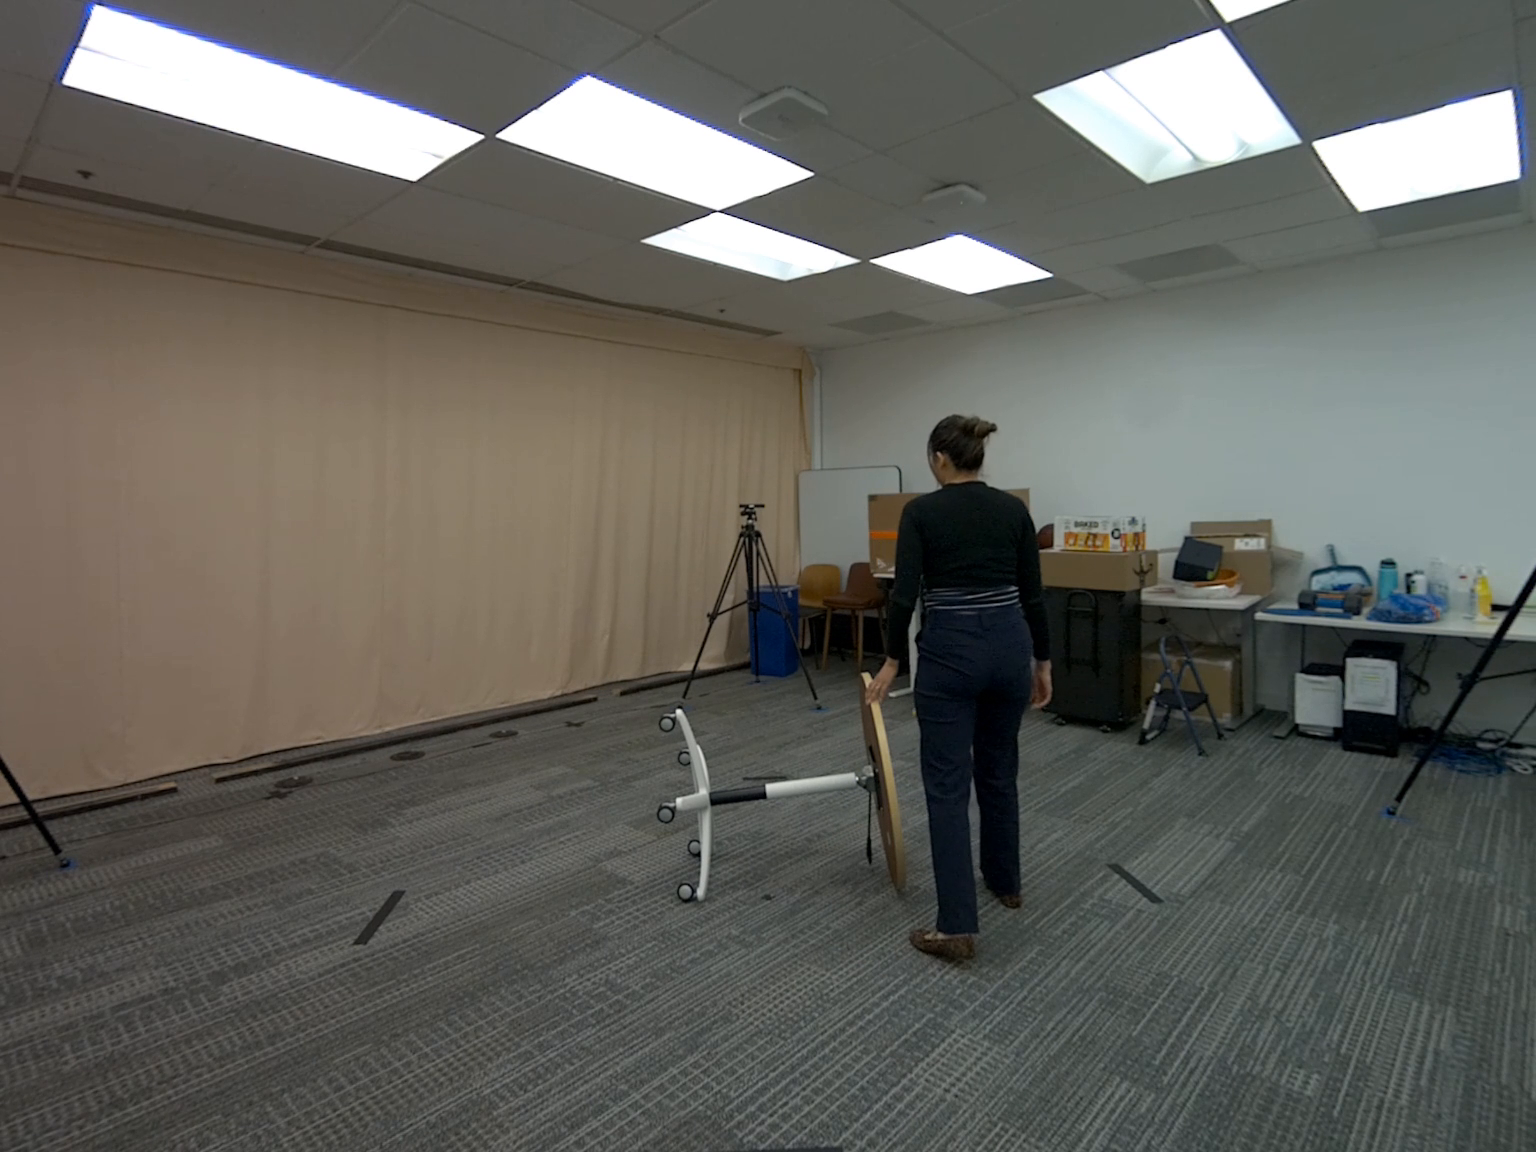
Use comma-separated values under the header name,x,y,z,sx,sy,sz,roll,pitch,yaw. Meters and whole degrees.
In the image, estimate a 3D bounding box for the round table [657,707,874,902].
name,x,y,z,sx,sy,sz,roll,pitch,yaw
round table,0.041,0.801,3.124,0.796,0.762,0.763,-9,4,2
